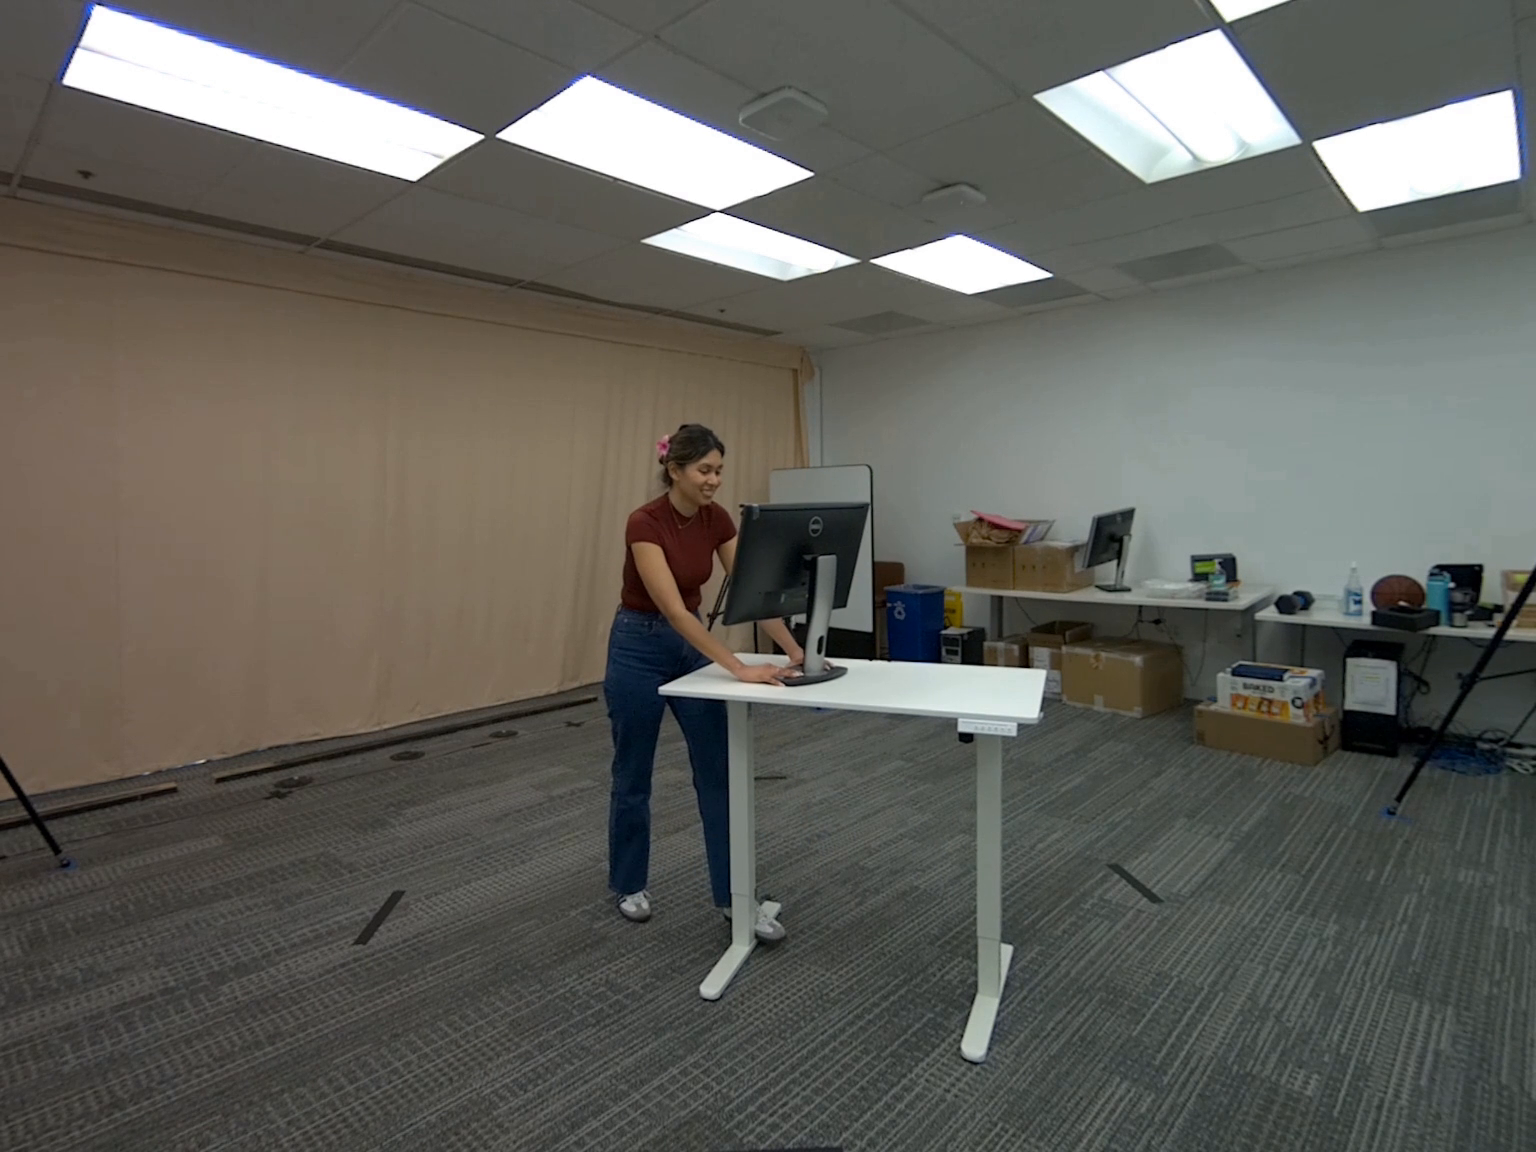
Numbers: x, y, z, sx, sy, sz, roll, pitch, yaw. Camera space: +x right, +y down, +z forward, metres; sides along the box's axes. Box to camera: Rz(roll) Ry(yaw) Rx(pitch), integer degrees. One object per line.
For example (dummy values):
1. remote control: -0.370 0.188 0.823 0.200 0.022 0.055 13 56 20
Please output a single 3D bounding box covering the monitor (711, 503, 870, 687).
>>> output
1. monitor: 0.120 0.049 2.464 0.193 0.521 0.523 6 8 42
